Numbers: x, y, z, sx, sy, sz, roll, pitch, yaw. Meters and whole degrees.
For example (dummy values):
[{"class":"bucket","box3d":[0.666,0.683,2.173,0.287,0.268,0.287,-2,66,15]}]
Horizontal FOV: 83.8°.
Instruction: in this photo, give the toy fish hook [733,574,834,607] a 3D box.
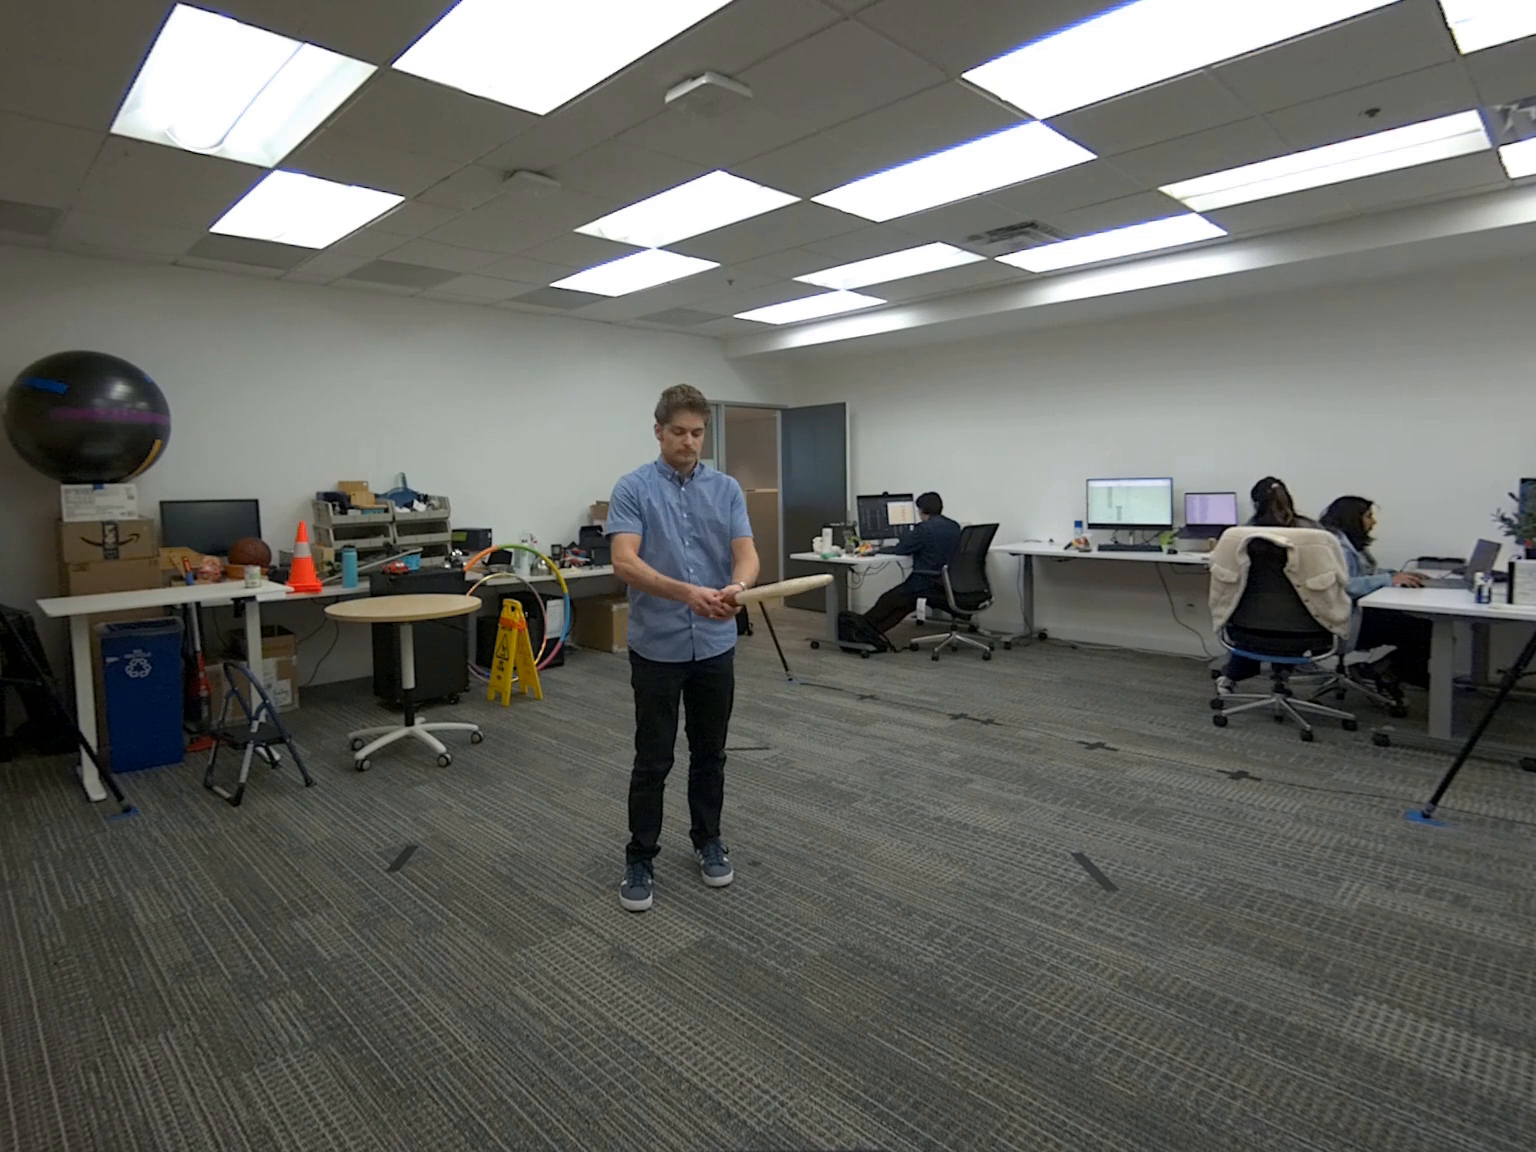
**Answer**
[{"class":"toy fish hook","box3d":[-0.024,0.057,2.506,0.219,0.048,0.517,-5,-5,-39]}]
